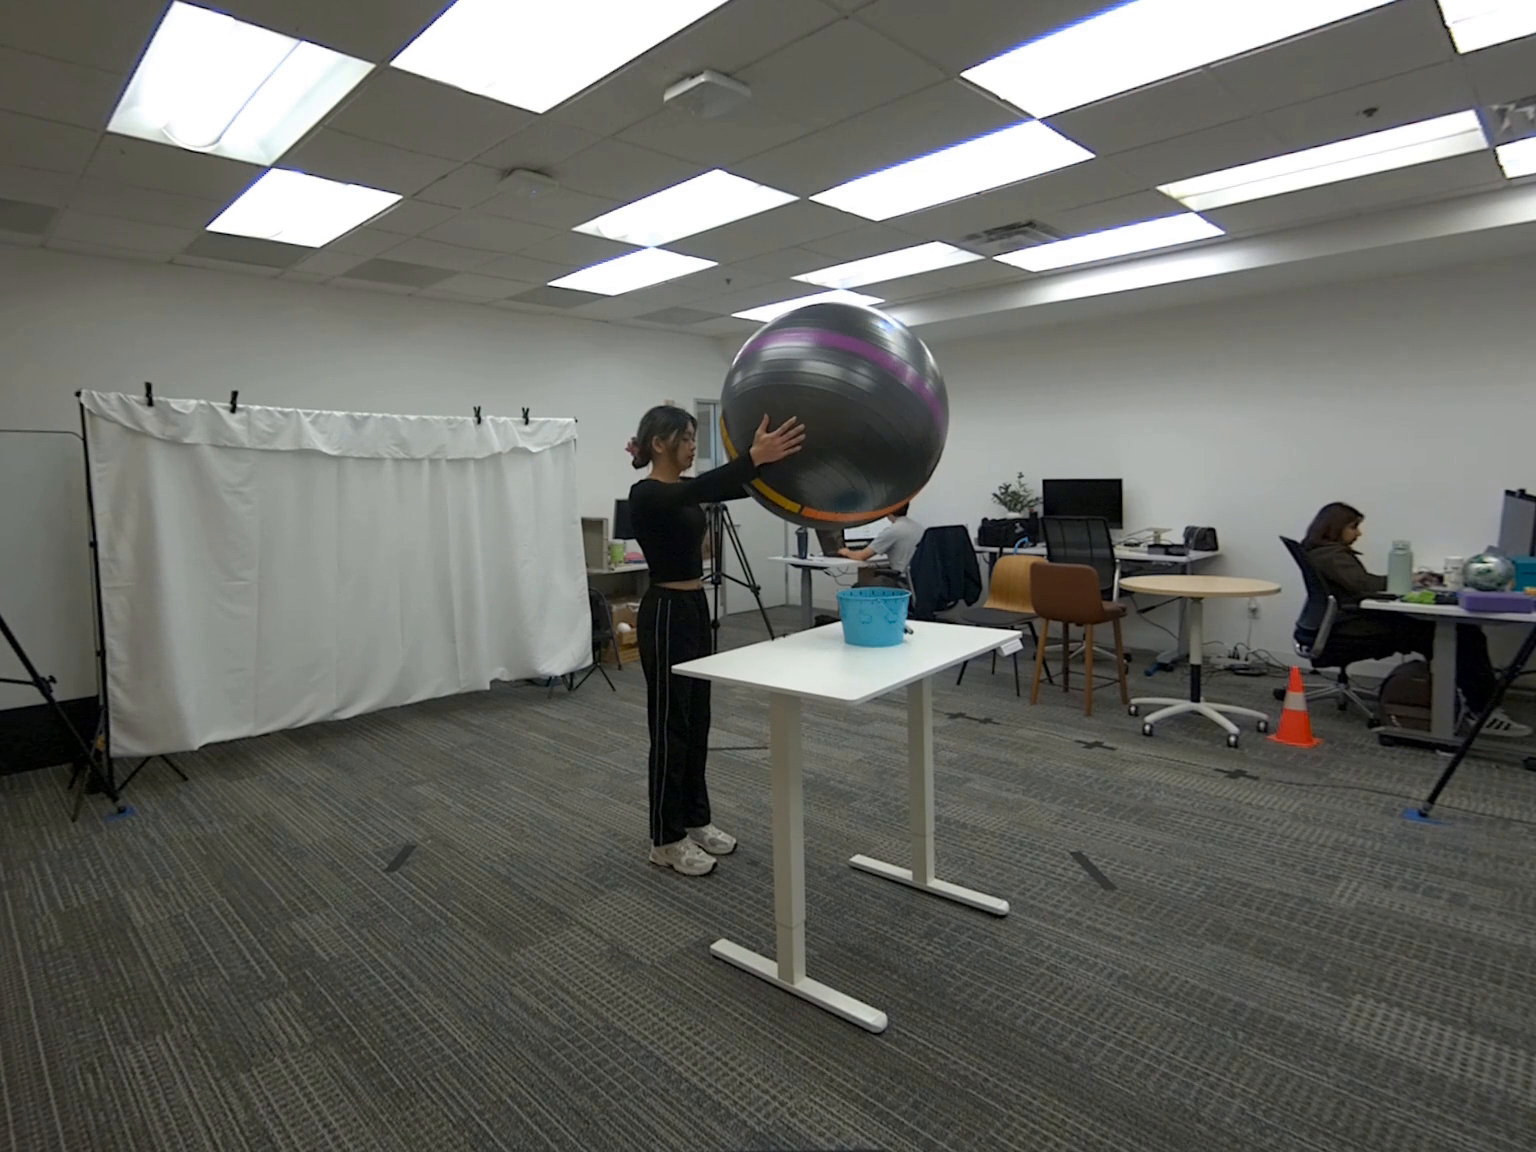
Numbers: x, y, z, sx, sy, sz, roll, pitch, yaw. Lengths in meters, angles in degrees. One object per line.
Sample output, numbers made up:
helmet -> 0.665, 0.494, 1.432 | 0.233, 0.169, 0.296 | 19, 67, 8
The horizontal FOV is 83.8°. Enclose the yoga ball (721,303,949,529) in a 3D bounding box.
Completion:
yoga ball -> 0.224, -0.524, 2.857 | 0.757, 0.755, 0.762 | -1, 5, -2
